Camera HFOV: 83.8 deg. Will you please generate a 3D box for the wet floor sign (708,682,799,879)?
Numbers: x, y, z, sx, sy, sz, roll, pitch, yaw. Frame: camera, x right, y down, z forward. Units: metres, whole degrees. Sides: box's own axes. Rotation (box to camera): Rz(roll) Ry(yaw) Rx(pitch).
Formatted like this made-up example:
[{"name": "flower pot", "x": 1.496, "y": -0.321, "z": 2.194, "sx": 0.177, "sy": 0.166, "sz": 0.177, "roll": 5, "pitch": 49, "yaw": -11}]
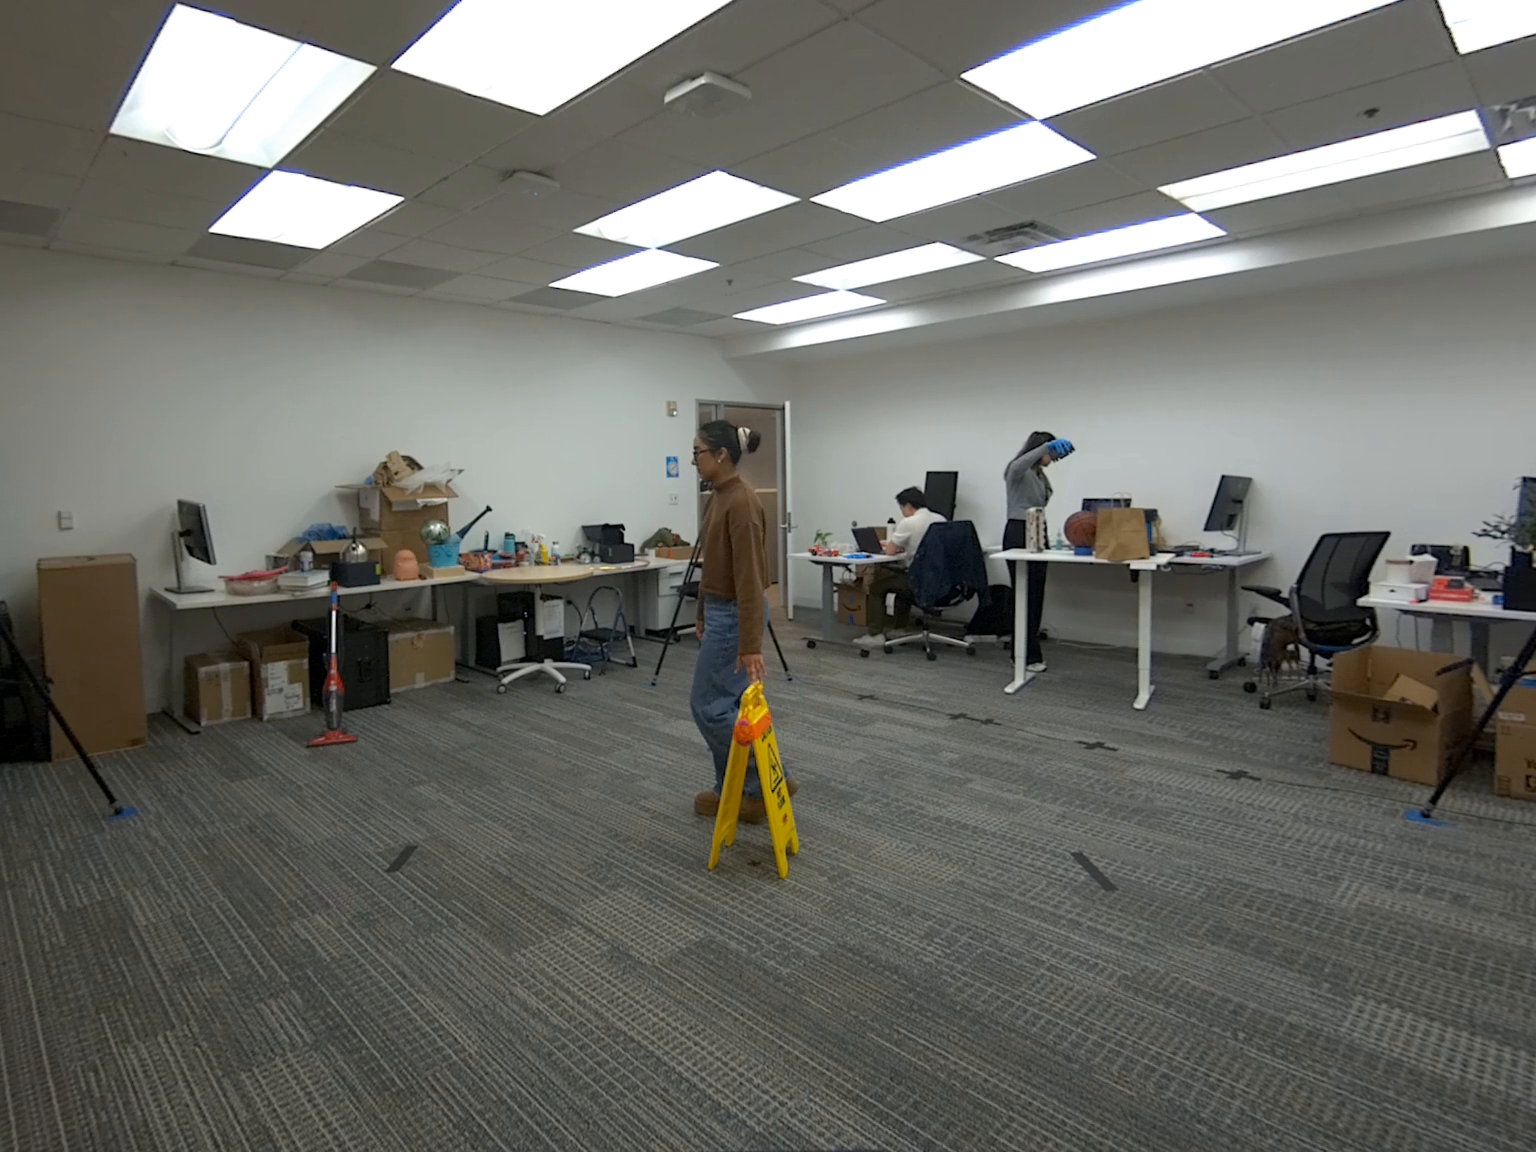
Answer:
[{"name": "wet floor sign", "x": -0.055, "y": 0.720, "z": 3.125, "sx": 0.294, "sy": 0.644, "sz": 0.279, "roll": -1, "pitch": 3, "yaw": 15}]
